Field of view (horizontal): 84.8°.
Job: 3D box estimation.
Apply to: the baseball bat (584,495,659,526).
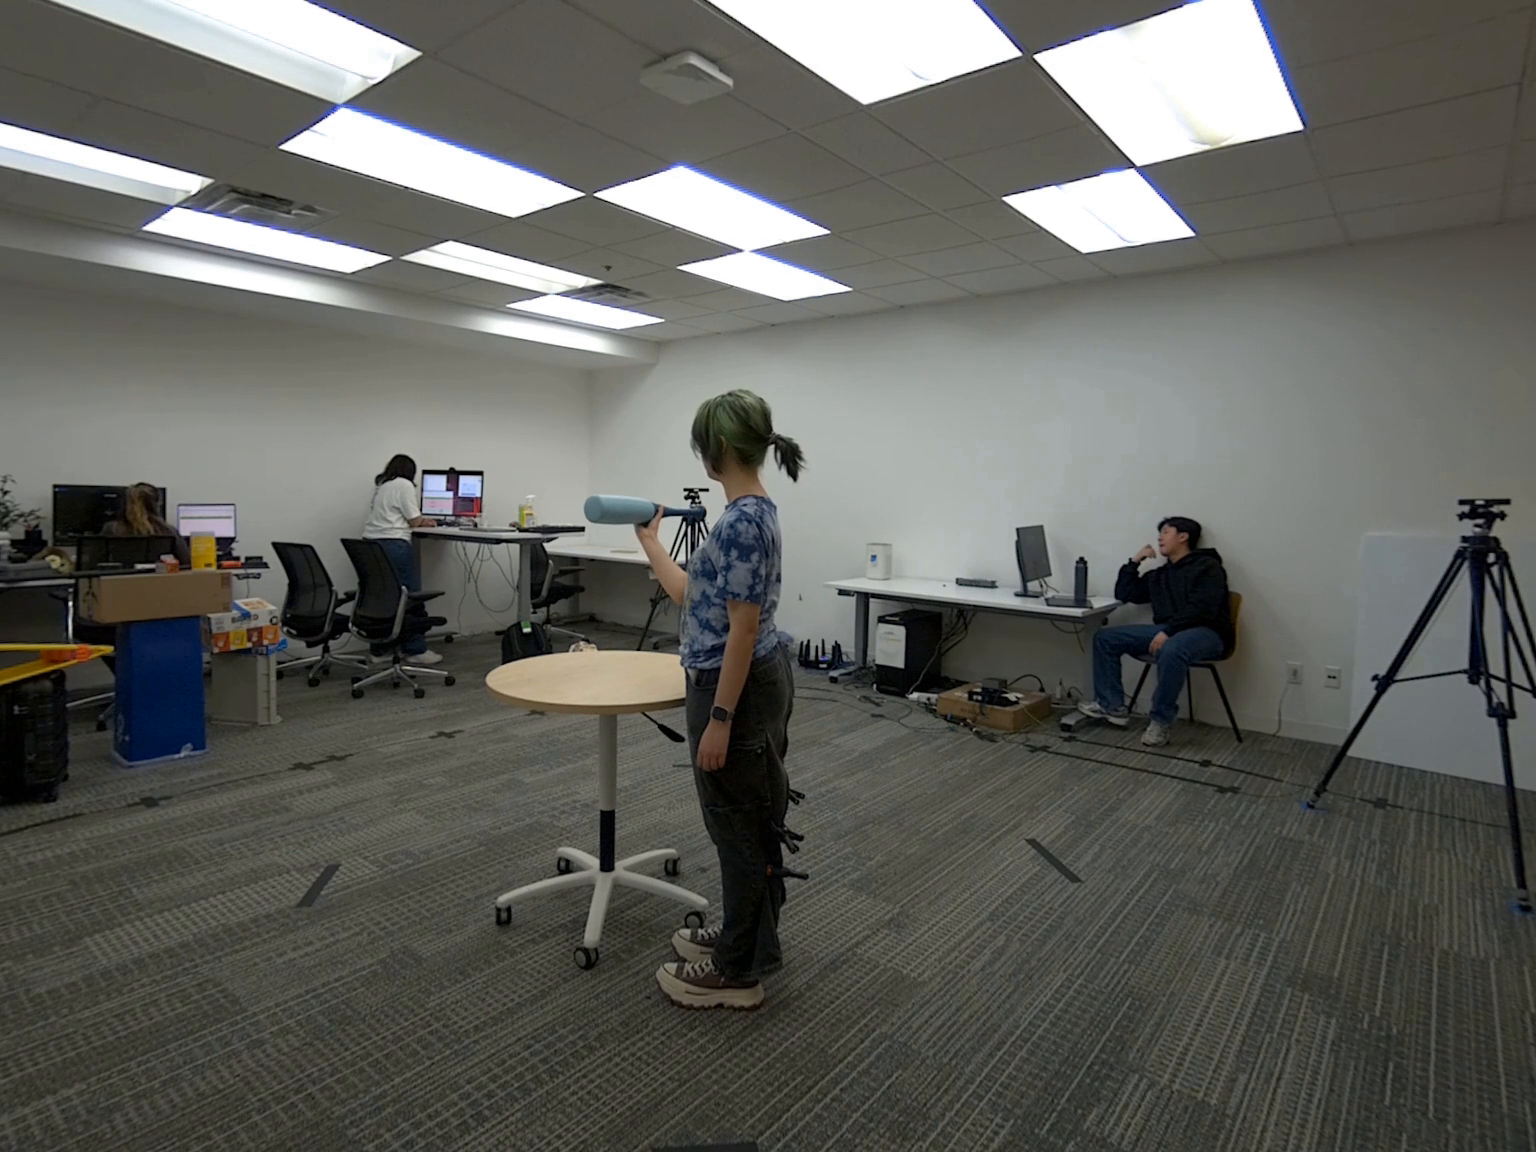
[{"bbox_3d":[-0.387,-0.207,2.738,0.092,0.089,0.527,4,4,35],"label":"baseball bat"}]
